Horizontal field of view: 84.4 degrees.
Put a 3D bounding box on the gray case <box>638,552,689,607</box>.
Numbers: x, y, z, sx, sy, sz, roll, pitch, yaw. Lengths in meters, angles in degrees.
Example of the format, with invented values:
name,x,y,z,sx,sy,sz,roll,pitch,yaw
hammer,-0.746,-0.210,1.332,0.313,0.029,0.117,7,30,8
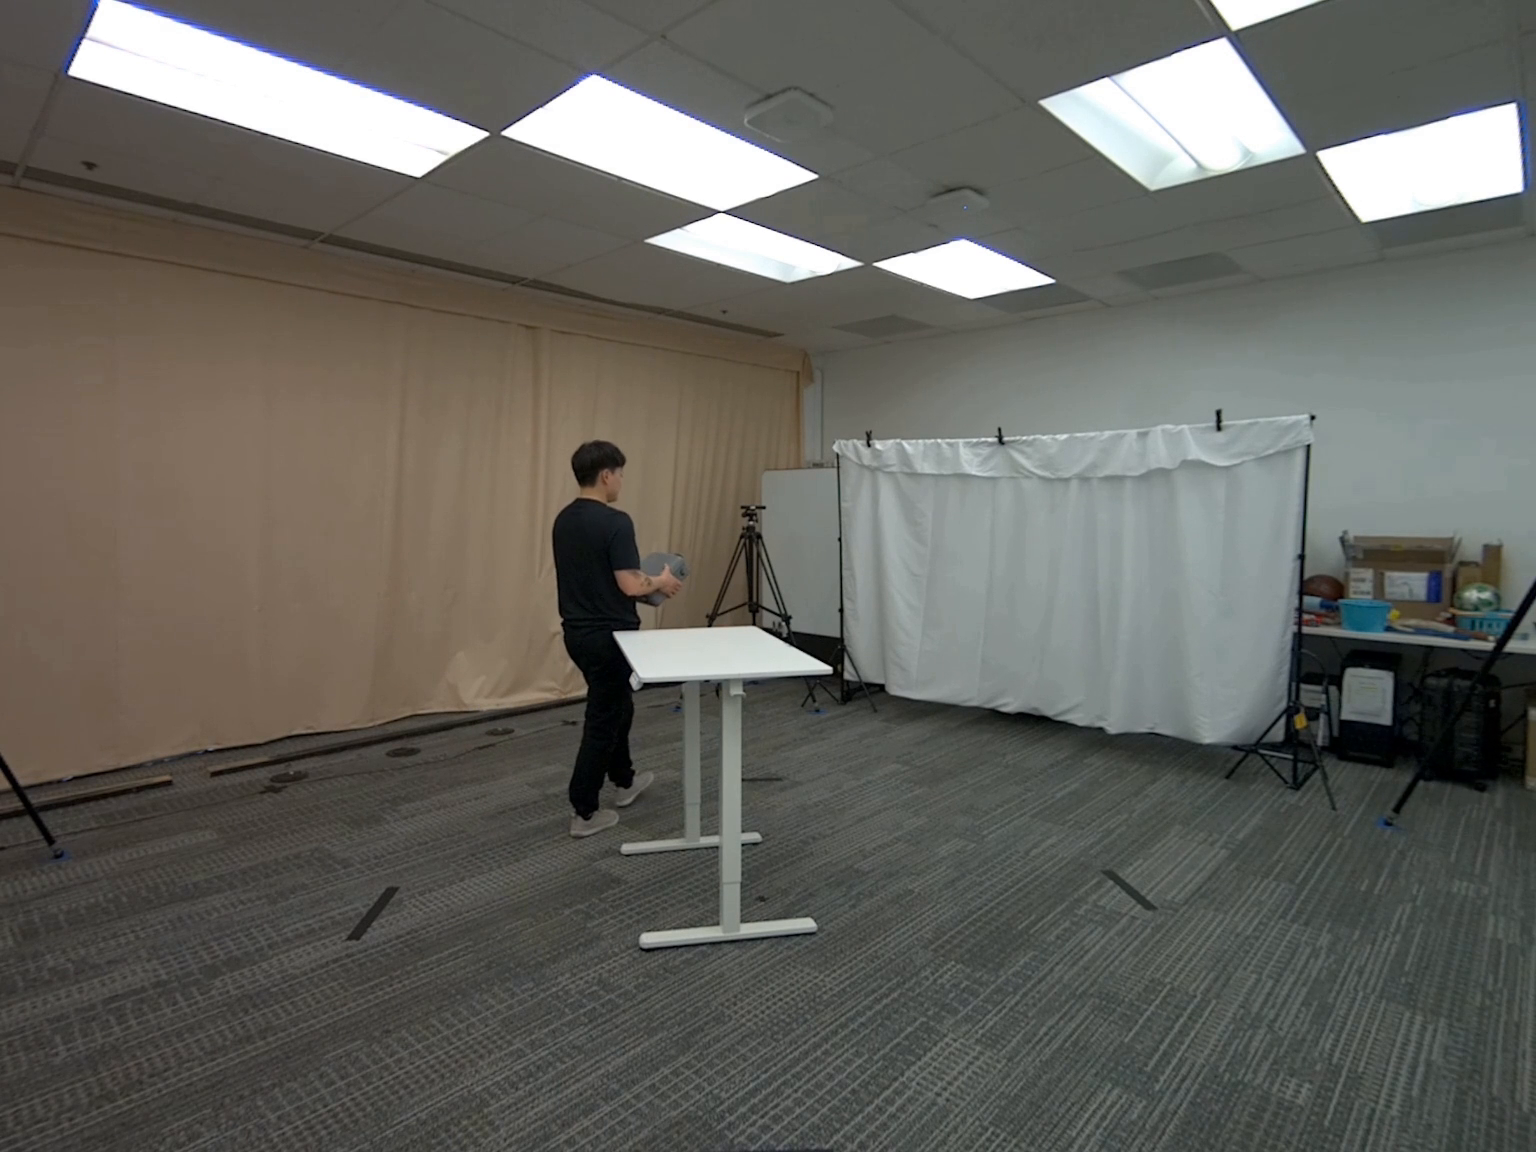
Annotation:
name,x,y,z,sx,sy,sz,roll,pitch,yaw
gray case,-0.516,0.005,3.819,0.265,0.101,0.259,9,47,50
